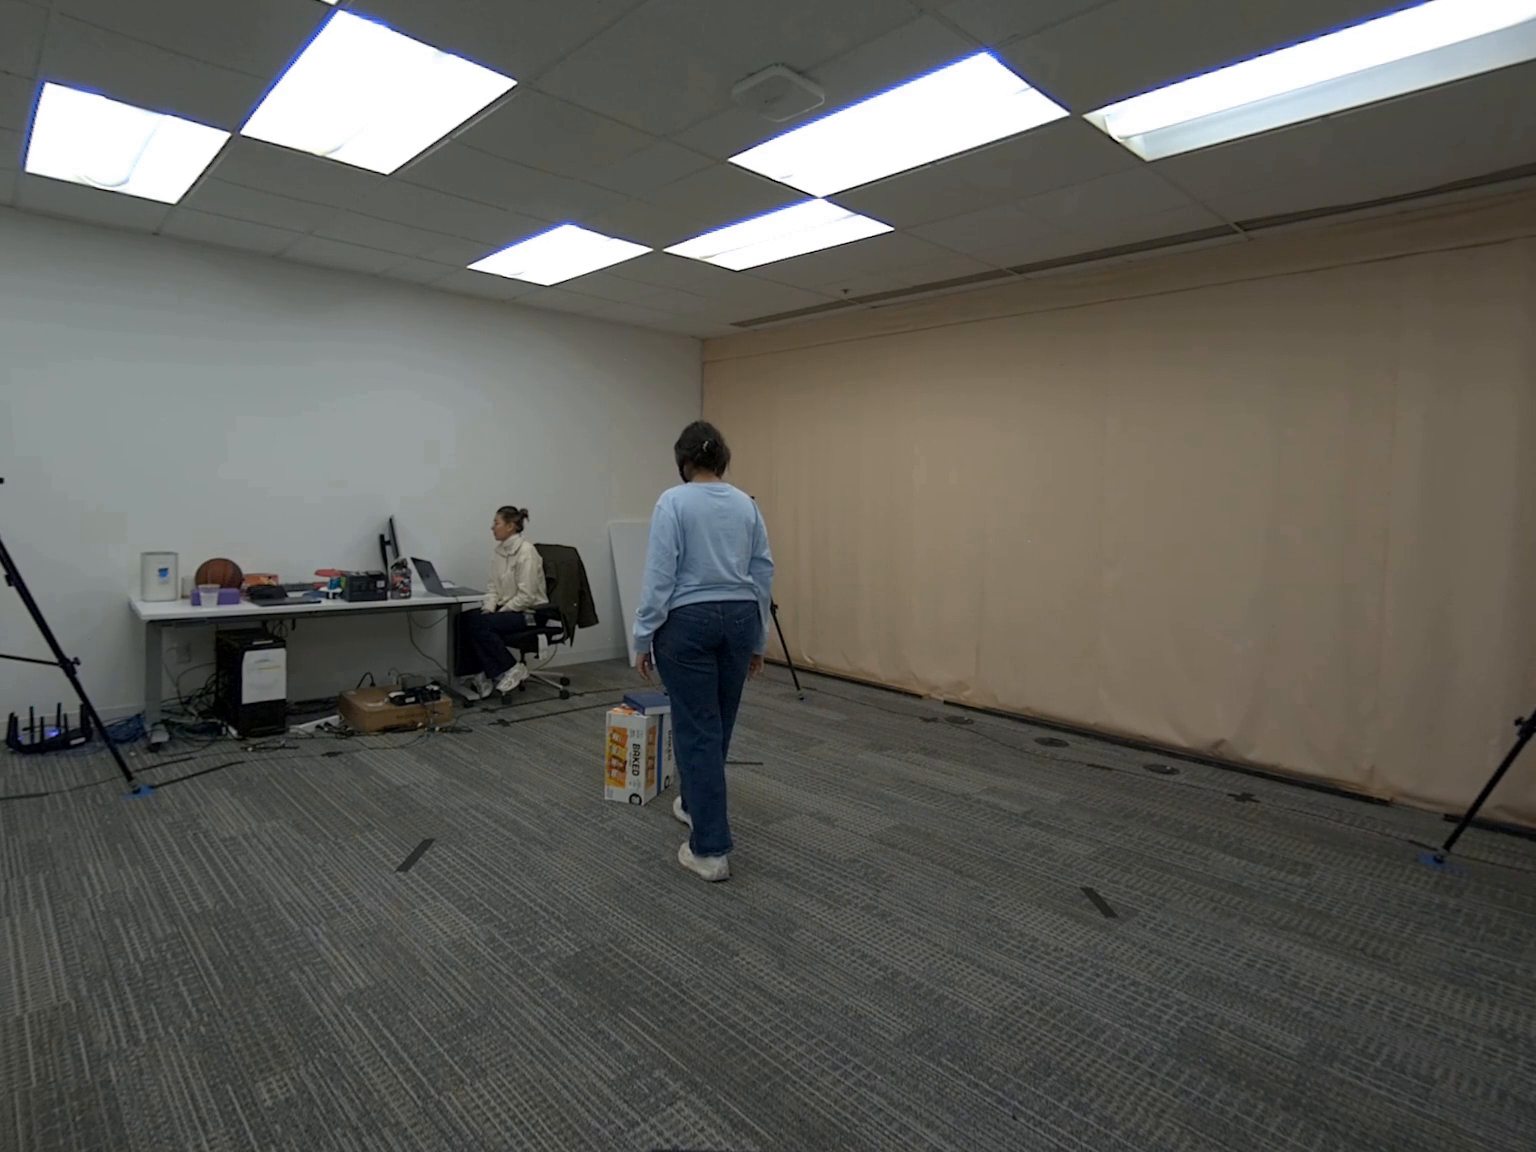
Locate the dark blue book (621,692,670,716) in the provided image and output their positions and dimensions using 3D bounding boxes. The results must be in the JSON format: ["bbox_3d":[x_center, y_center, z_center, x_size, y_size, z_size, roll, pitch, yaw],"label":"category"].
[{"bbox_3d":[-0.570,0.592,3.950,0.160,0.045,0.251,-1,7,-33],"label":"dark blue book"}]
